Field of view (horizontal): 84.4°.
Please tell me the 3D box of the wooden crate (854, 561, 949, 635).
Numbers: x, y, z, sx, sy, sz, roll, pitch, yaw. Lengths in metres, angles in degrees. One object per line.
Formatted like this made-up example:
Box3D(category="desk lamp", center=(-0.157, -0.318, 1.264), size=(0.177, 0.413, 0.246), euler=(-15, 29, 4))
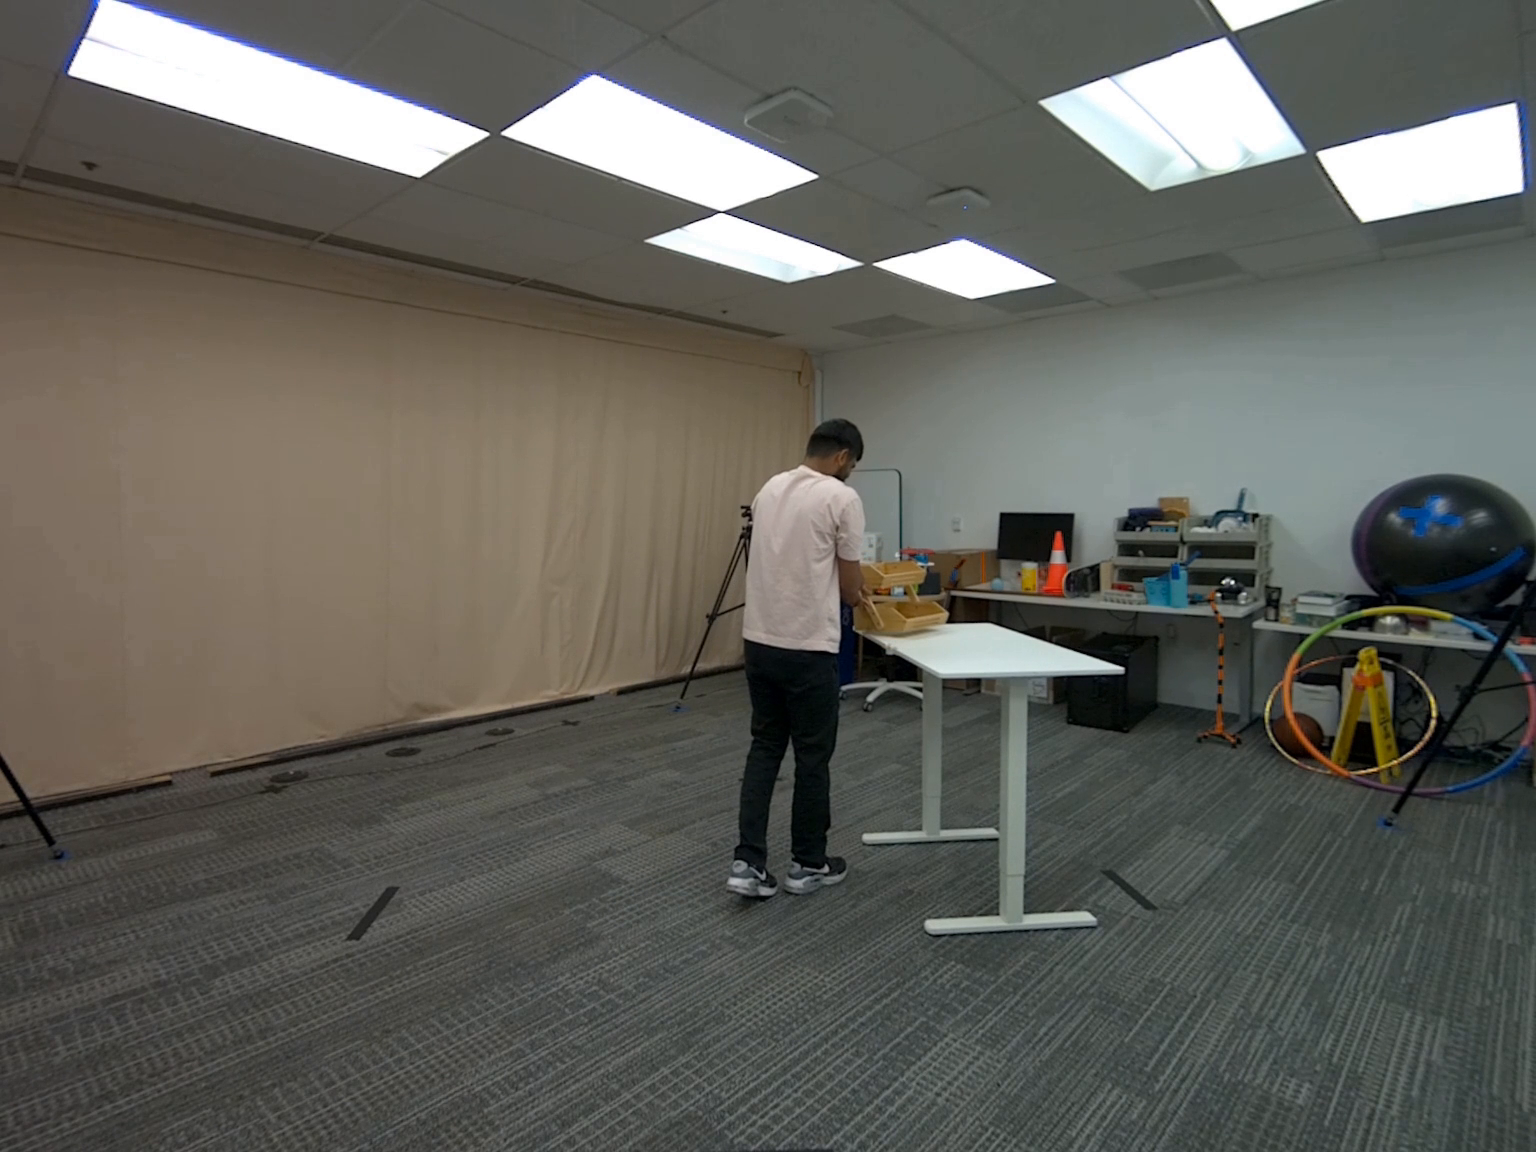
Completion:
Box3D(category="wooden crate", center=(0.517, 0.073, 3.408), size=(0.311, 0.273, 0.315), euler=(-3, 2, 40))
